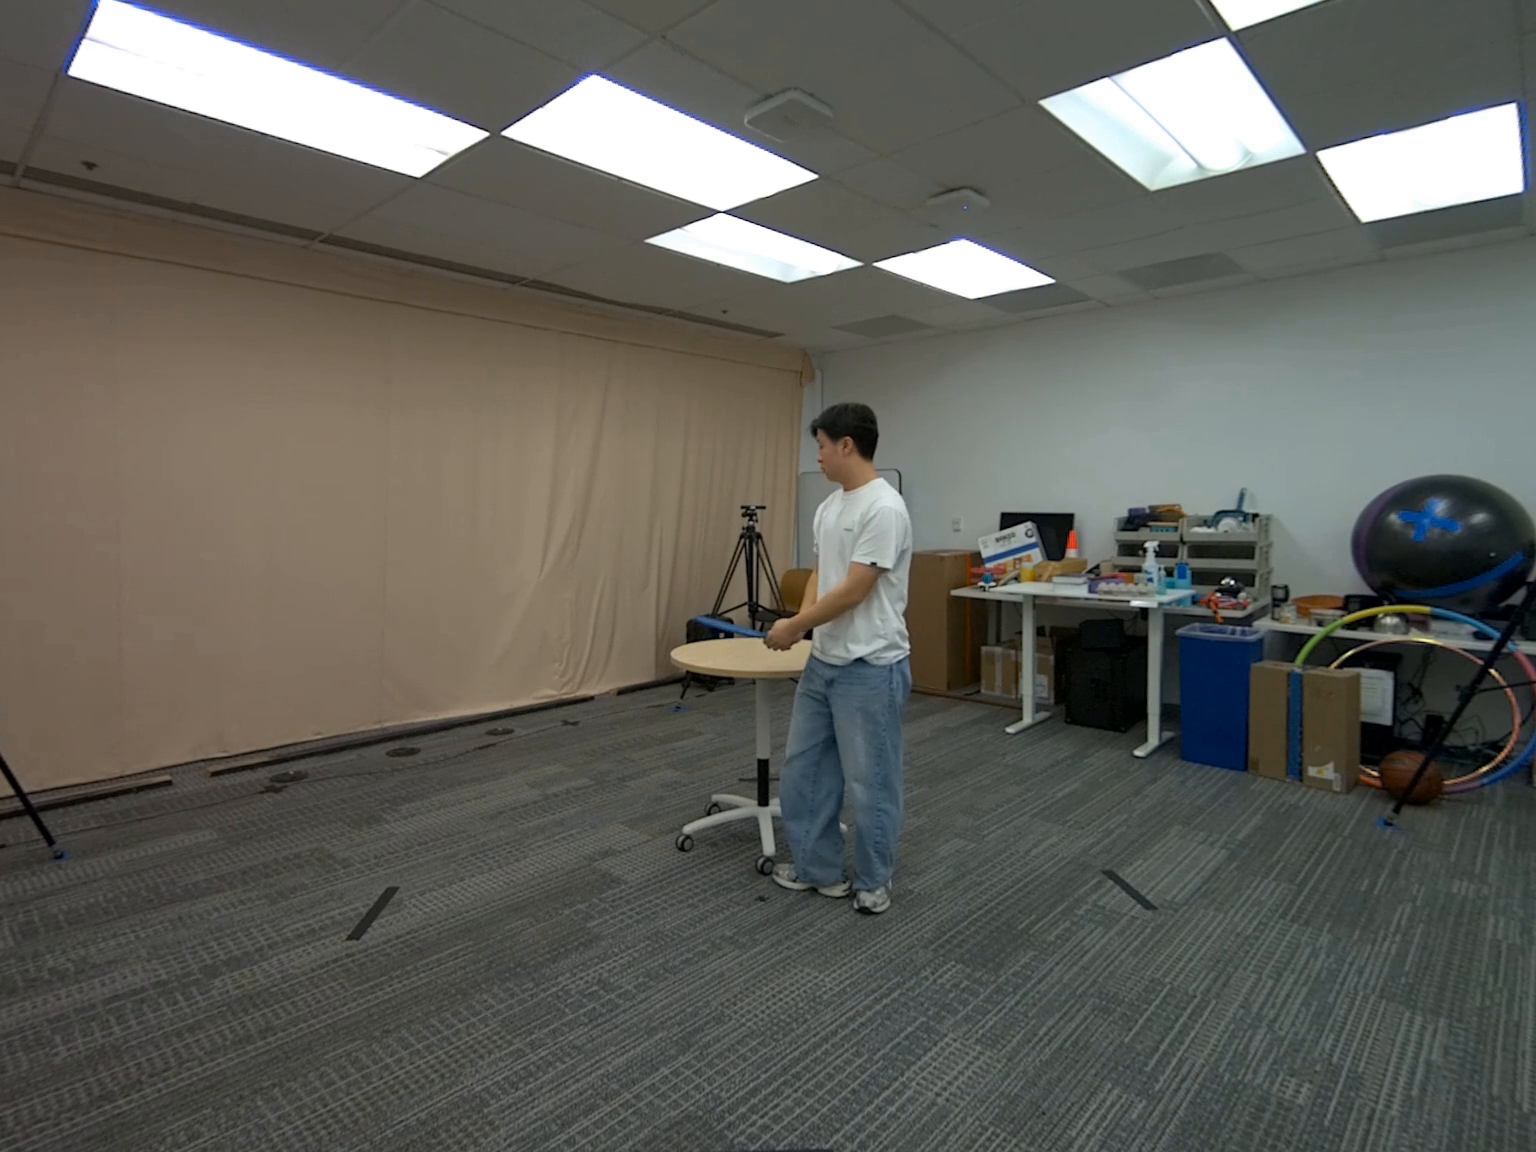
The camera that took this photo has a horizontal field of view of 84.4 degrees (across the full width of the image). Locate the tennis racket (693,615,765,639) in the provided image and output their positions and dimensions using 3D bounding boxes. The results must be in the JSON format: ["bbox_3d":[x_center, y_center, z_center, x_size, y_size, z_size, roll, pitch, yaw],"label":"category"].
[{"bbox_3d":[-0.078,0.188,2.894,0.221,0.032,0.417,16,-2,43],"label":"tennis racket"}]
